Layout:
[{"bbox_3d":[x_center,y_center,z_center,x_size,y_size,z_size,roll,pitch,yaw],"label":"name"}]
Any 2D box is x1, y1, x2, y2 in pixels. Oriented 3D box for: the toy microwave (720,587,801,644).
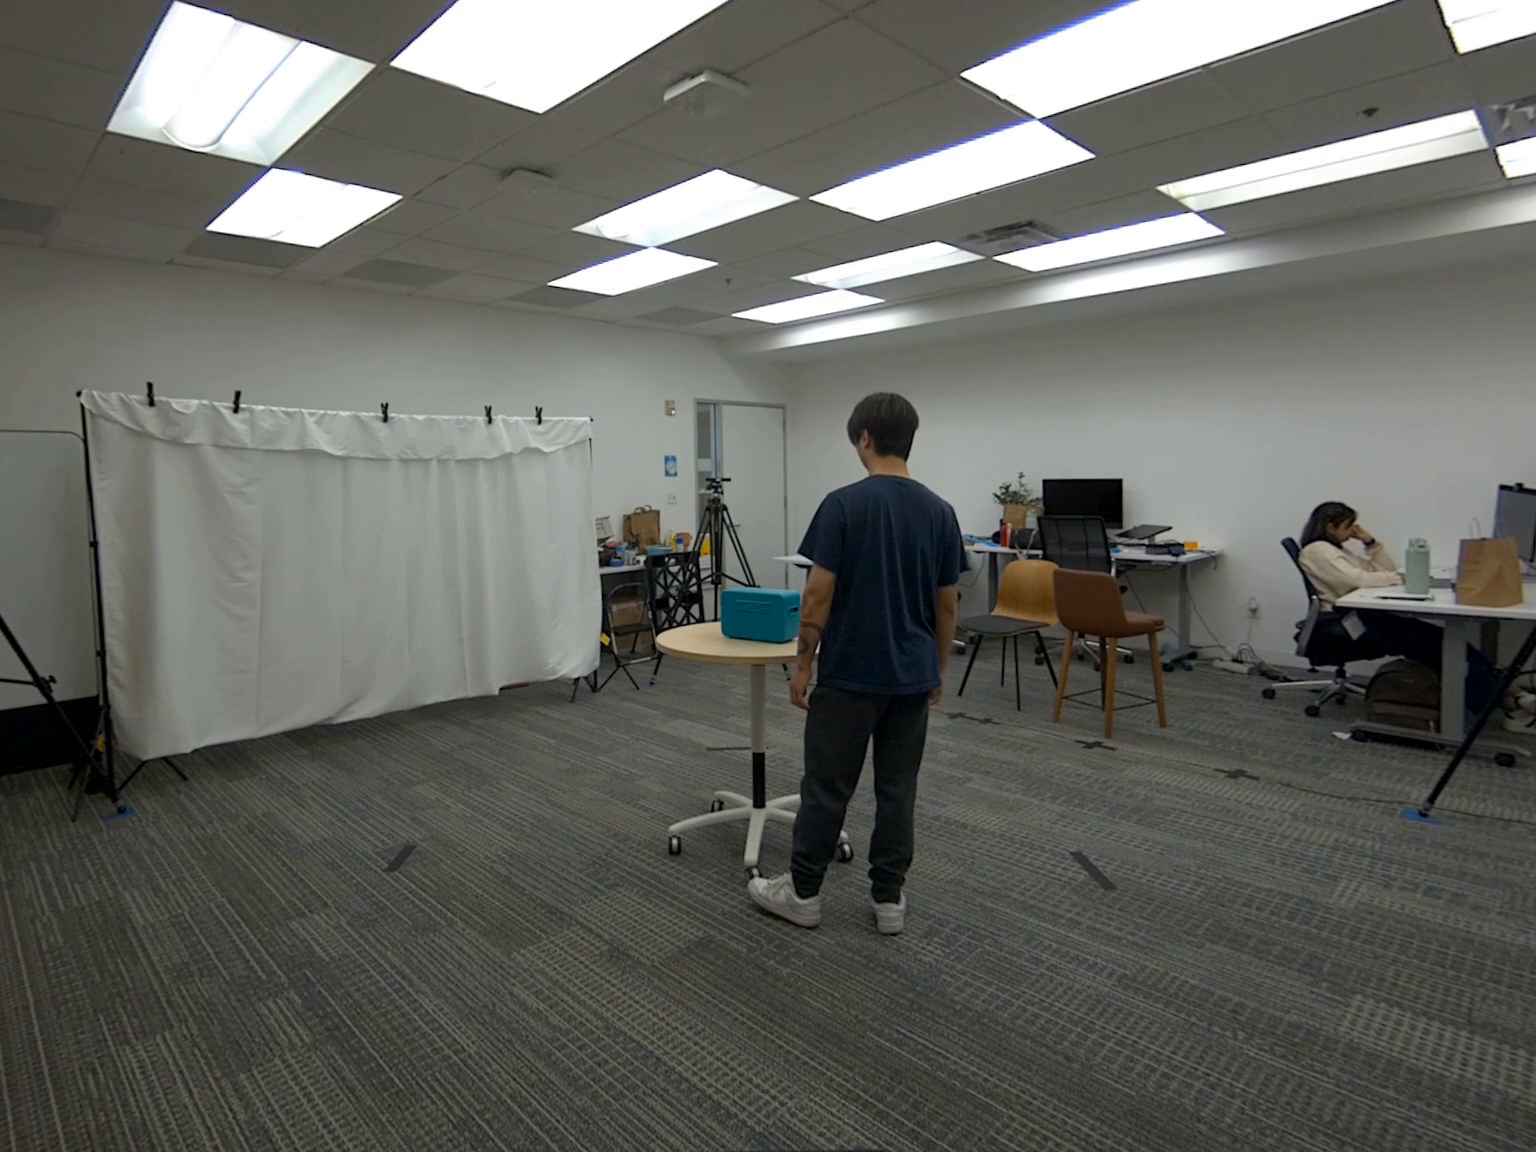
[{"bbox_3d":[-0.023,0.141,3.185,0.294,0.183,0.148,3,5,35],"label":"toy microwave"}]
